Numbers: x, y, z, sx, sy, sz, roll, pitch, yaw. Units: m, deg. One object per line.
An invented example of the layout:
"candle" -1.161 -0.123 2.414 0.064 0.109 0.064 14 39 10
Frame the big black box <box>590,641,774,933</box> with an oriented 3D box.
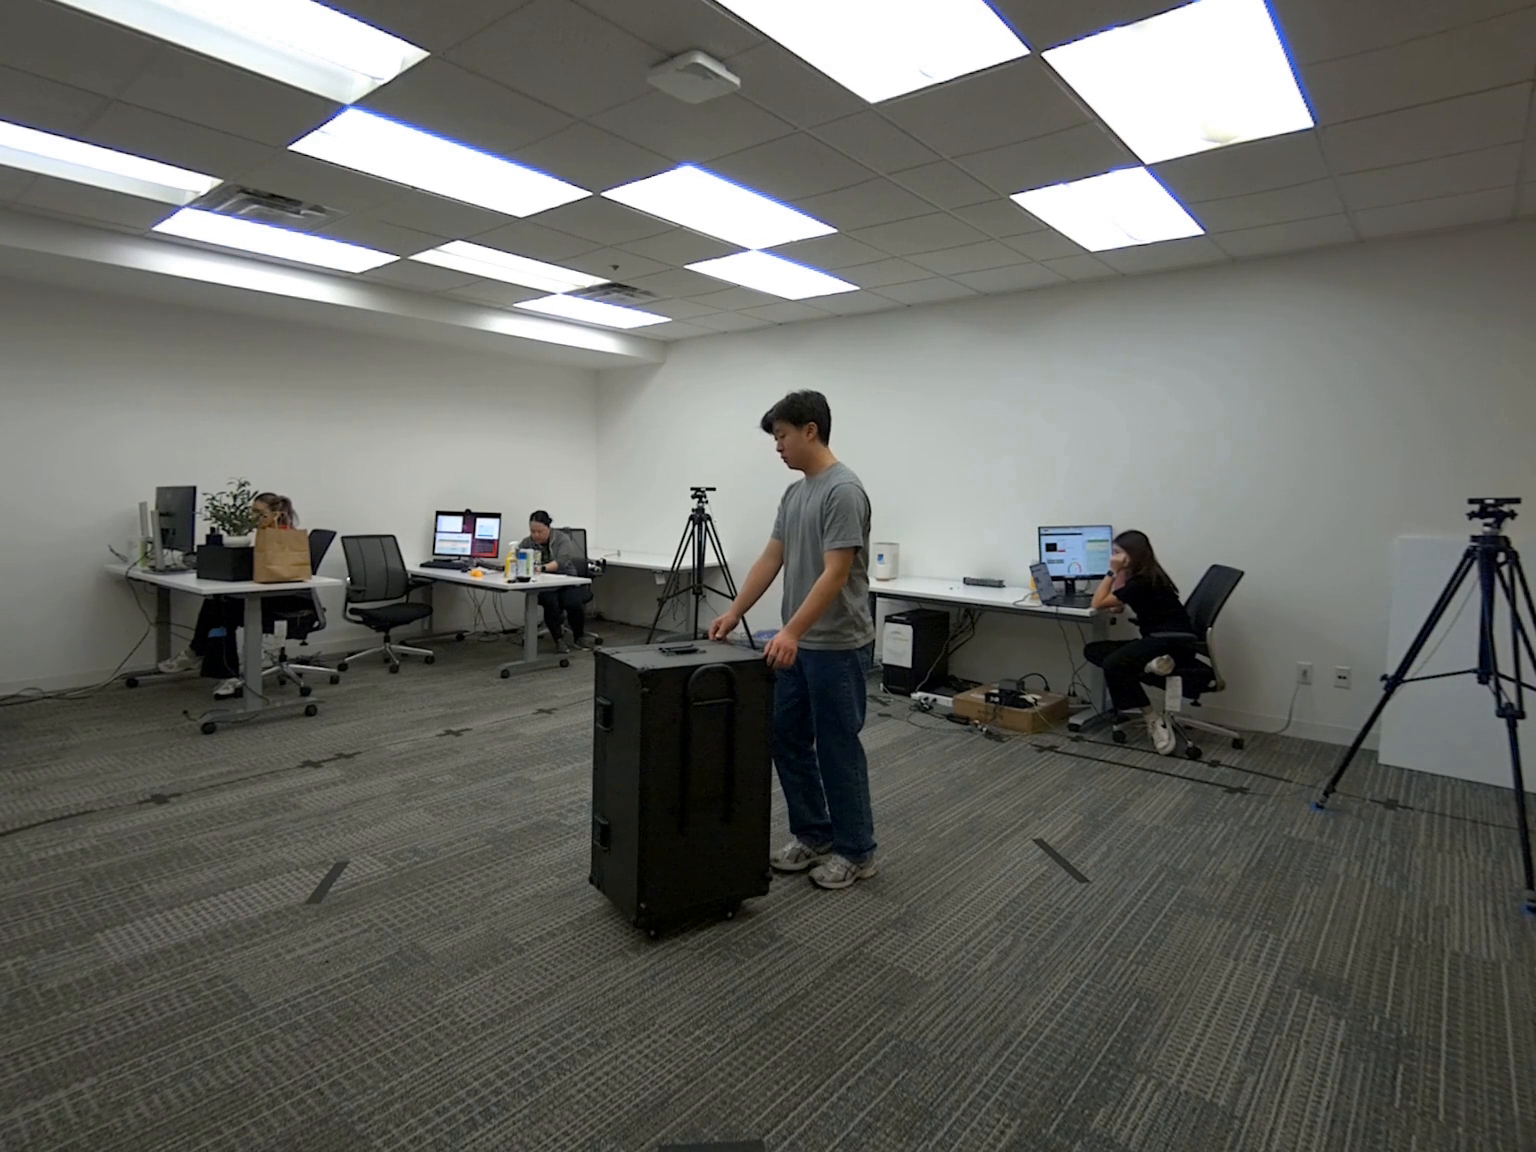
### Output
"big black box" -0.282 0.672 2.773 0.507 0.858 0.409 0 5 -32
